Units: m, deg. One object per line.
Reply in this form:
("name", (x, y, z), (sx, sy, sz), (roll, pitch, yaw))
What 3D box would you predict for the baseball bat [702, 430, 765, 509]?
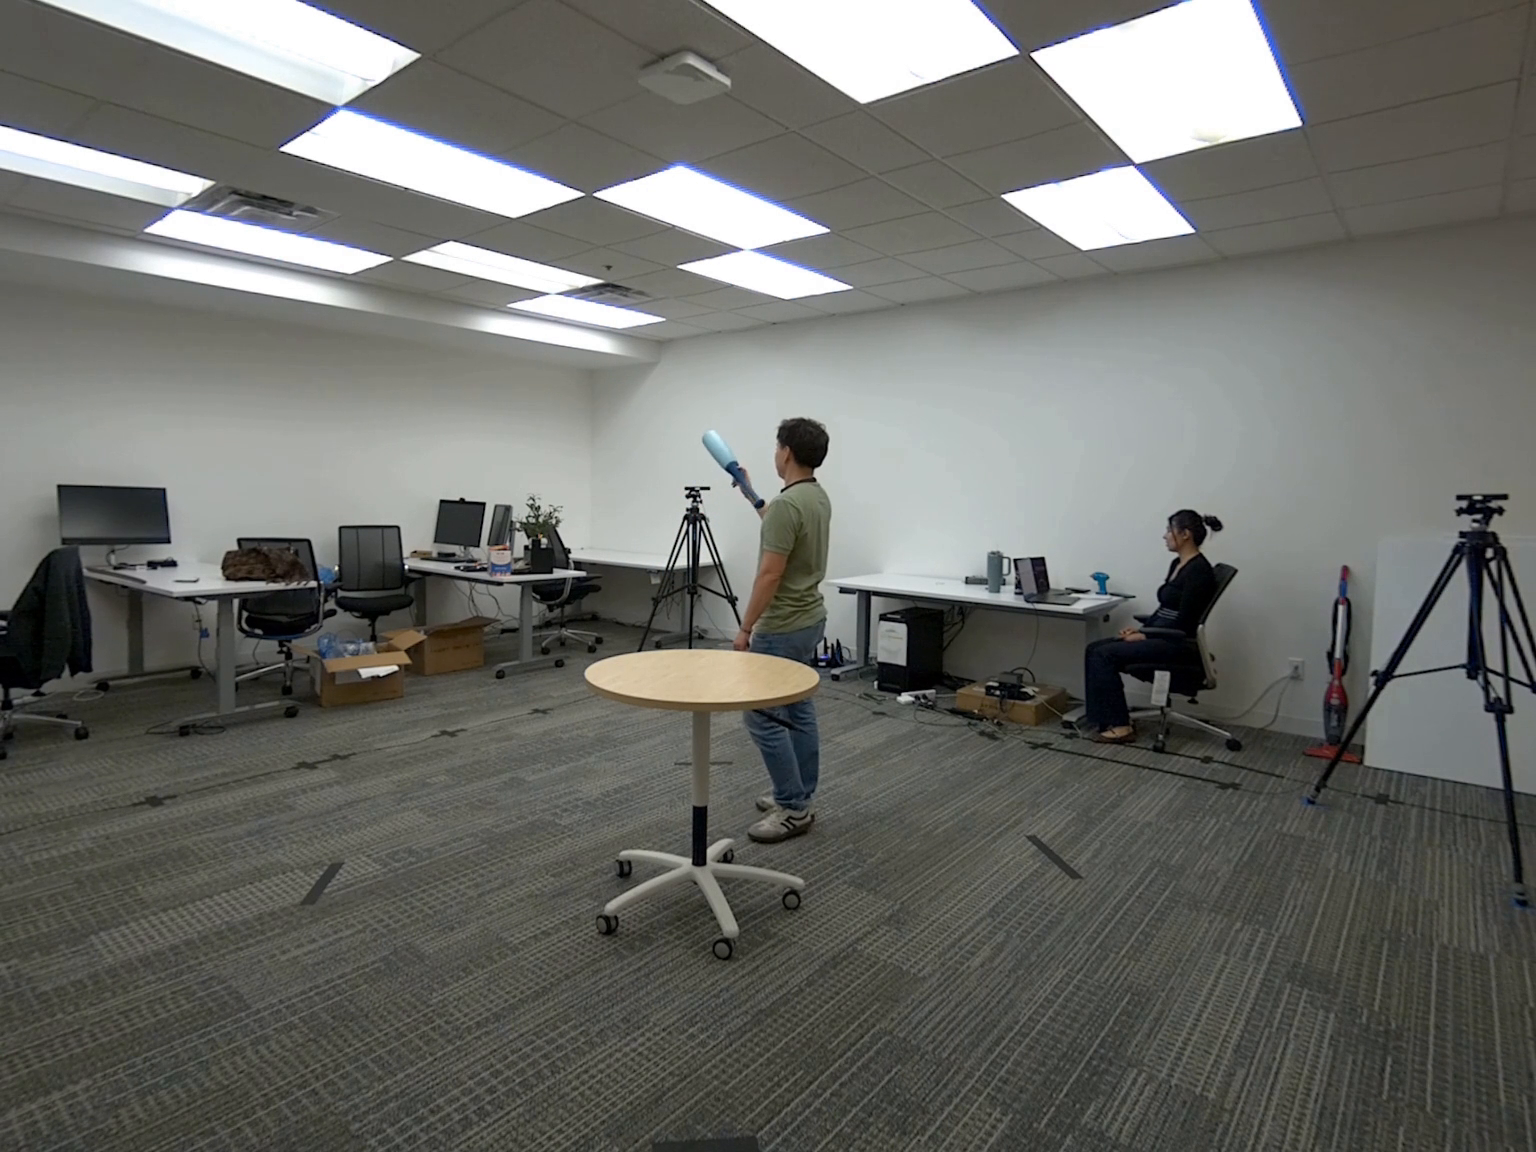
("baseball bat", (-0.175, -0.490, 3.964), (0.086, 0.088, 0.565), (-2, 42, -35))
